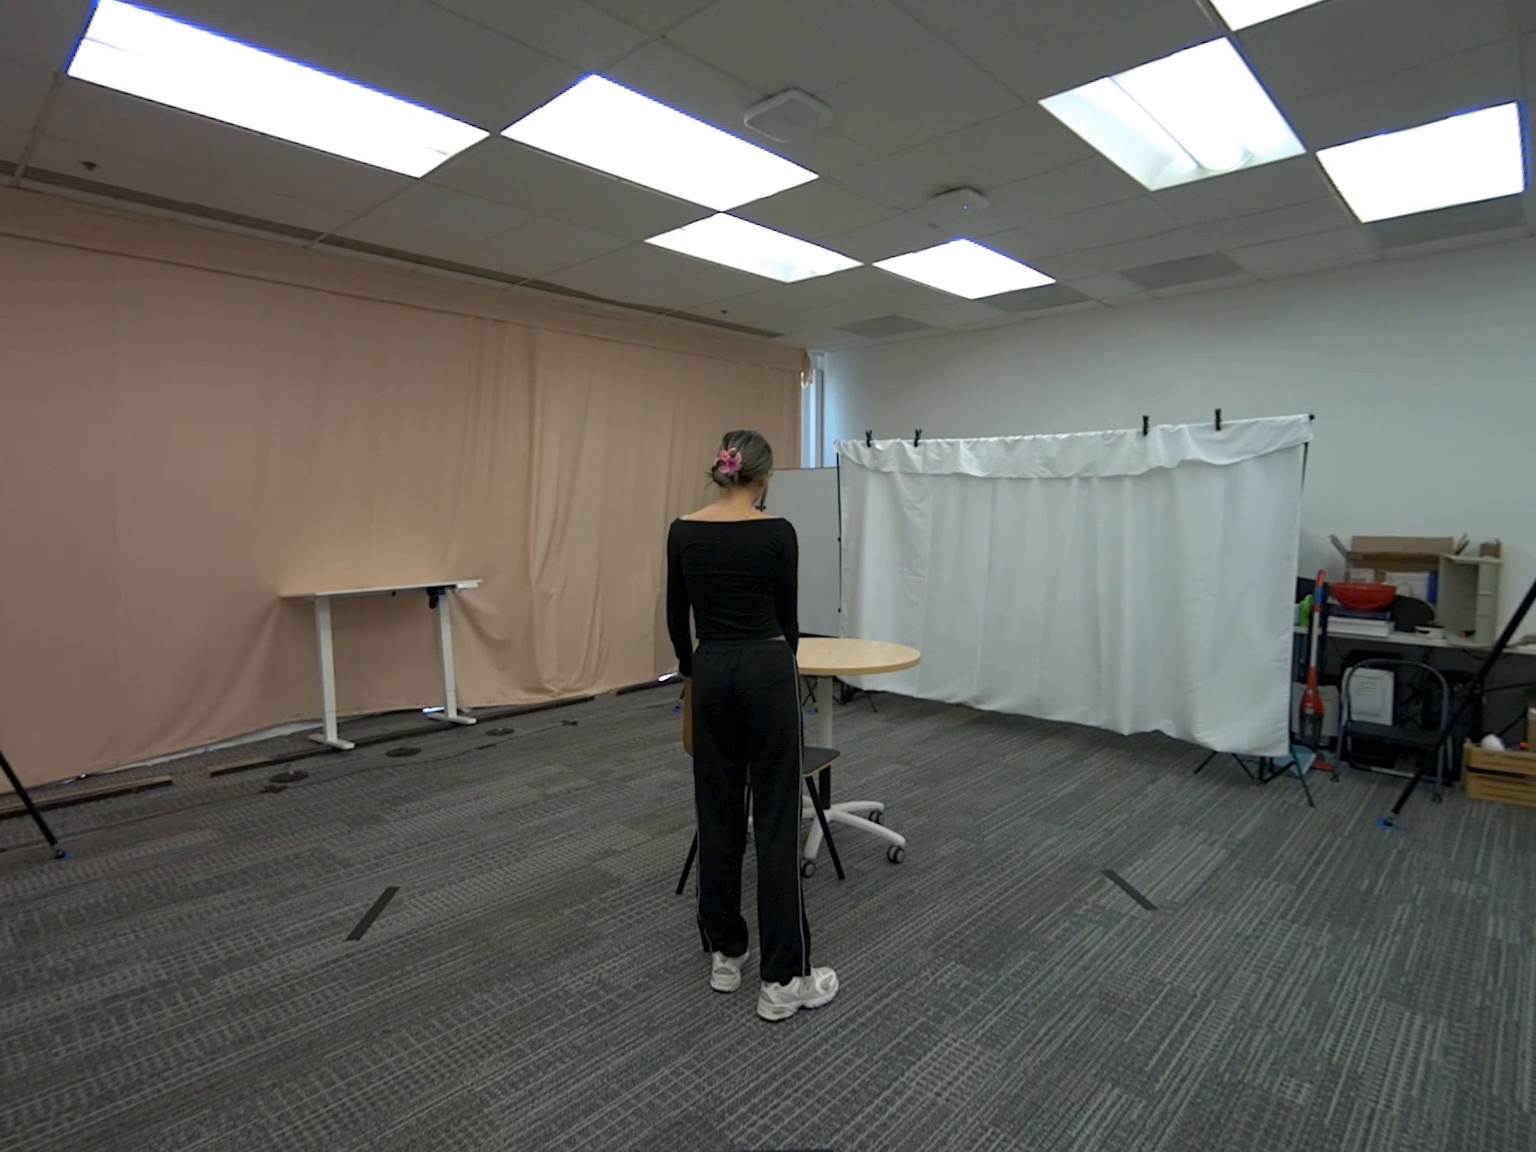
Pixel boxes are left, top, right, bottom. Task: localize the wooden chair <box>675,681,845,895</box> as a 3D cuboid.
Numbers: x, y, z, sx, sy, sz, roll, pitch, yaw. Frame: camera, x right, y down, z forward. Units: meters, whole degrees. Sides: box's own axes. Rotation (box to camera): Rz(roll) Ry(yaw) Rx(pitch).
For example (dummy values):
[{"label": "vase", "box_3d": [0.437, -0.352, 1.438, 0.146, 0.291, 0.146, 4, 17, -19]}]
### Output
[{"label": "wooden chair", "box_3d": [-0.021, 0.707, 3.056, 0.493, 0.873, 0.510, 2, 8, 33]}]
